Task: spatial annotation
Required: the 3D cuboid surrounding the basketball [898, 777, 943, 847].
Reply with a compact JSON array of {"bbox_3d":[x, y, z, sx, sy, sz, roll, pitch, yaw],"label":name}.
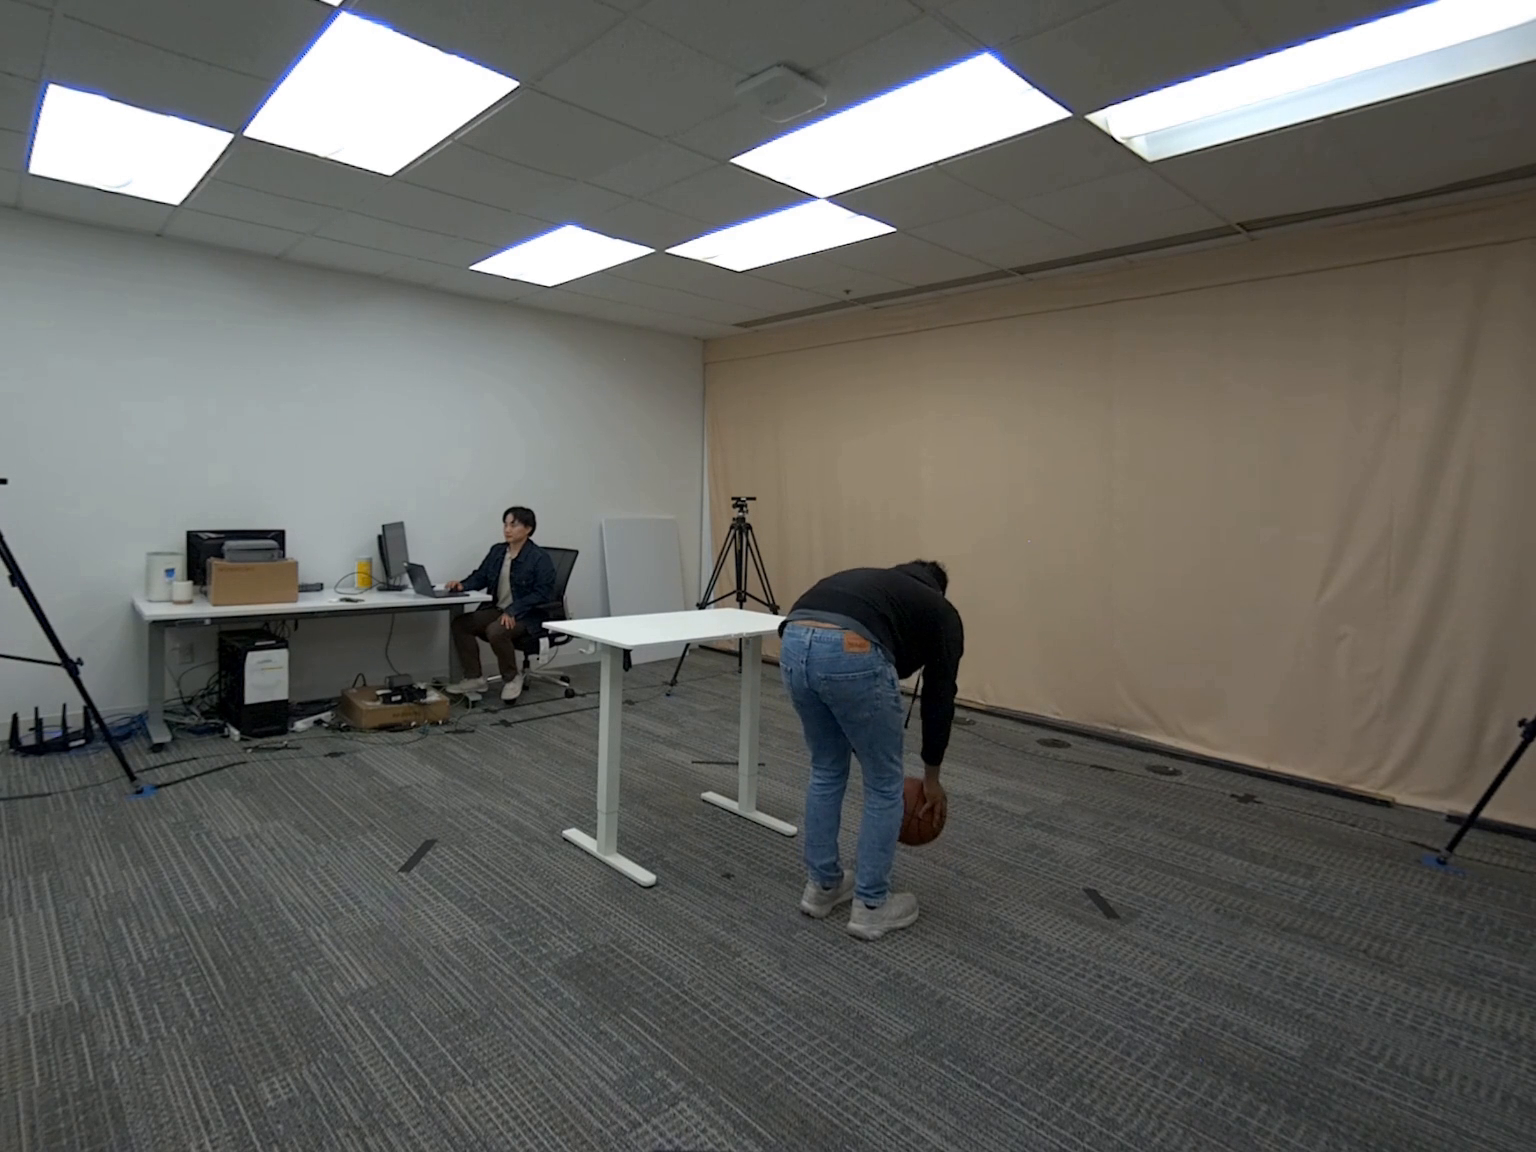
[{"bbox_3d":[0.527,0.839,3.039,0.236,0.235,0.237,1,4,-1],"label":"basketball"}]
